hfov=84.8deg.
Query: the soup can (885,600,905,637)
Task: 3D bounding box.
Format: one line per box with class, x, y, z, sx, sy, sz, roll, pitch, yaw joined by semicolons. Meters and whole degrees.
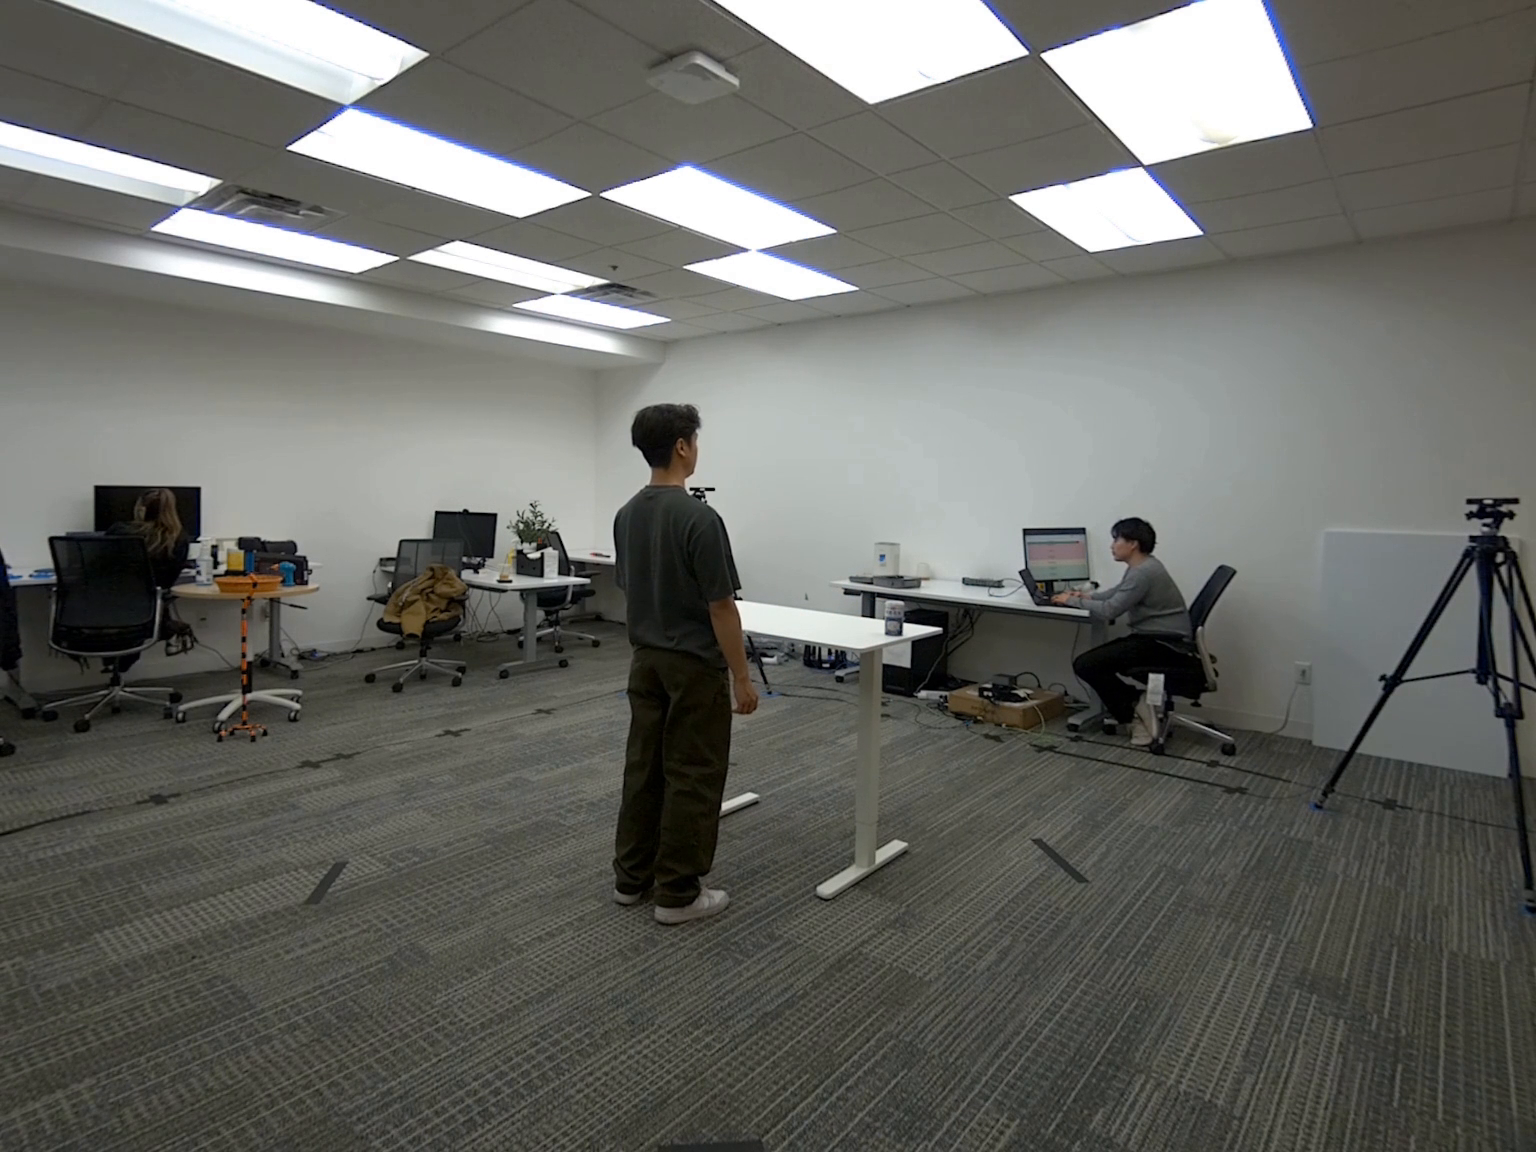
soup can;0.442;0.153;3.028;0.067;0.121;0.067;2;1;-2
